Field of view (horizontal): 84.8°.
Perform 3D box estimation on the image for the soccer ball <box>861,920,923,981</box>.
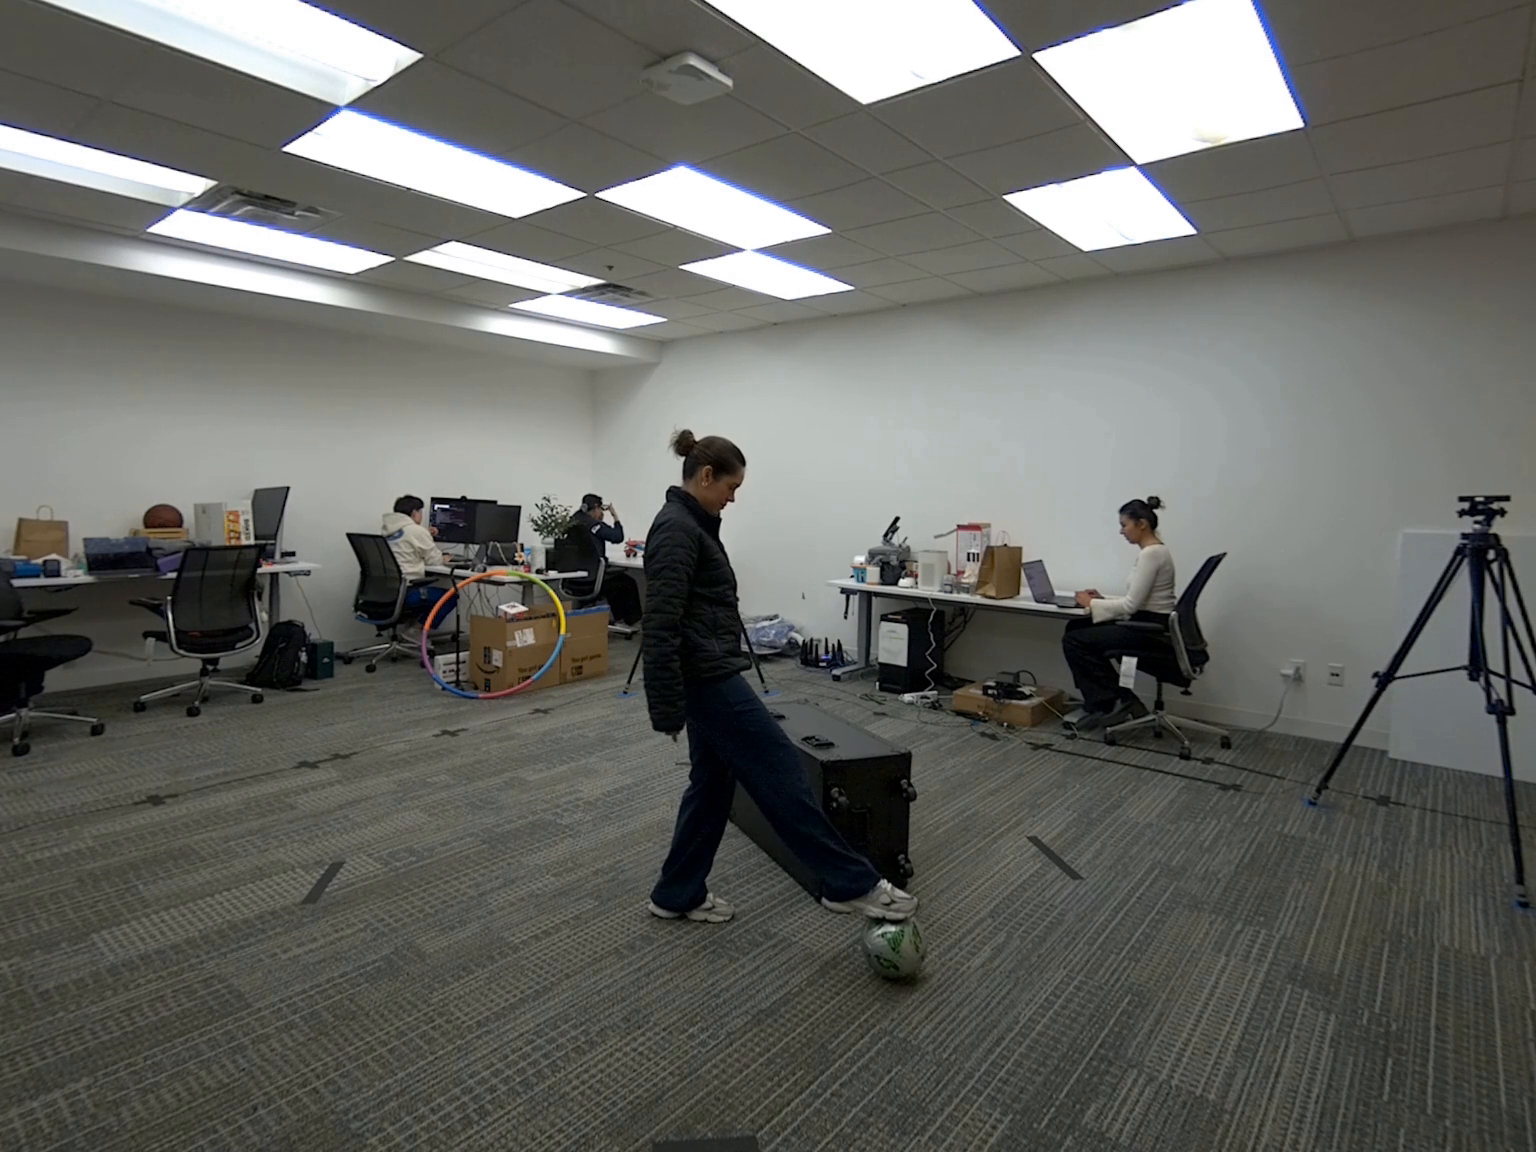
[{"bbox_3d":[0.350,1.048,2.455,0.187,0.187,0.188,1,4,-2],"label":"soccer ball"}]
